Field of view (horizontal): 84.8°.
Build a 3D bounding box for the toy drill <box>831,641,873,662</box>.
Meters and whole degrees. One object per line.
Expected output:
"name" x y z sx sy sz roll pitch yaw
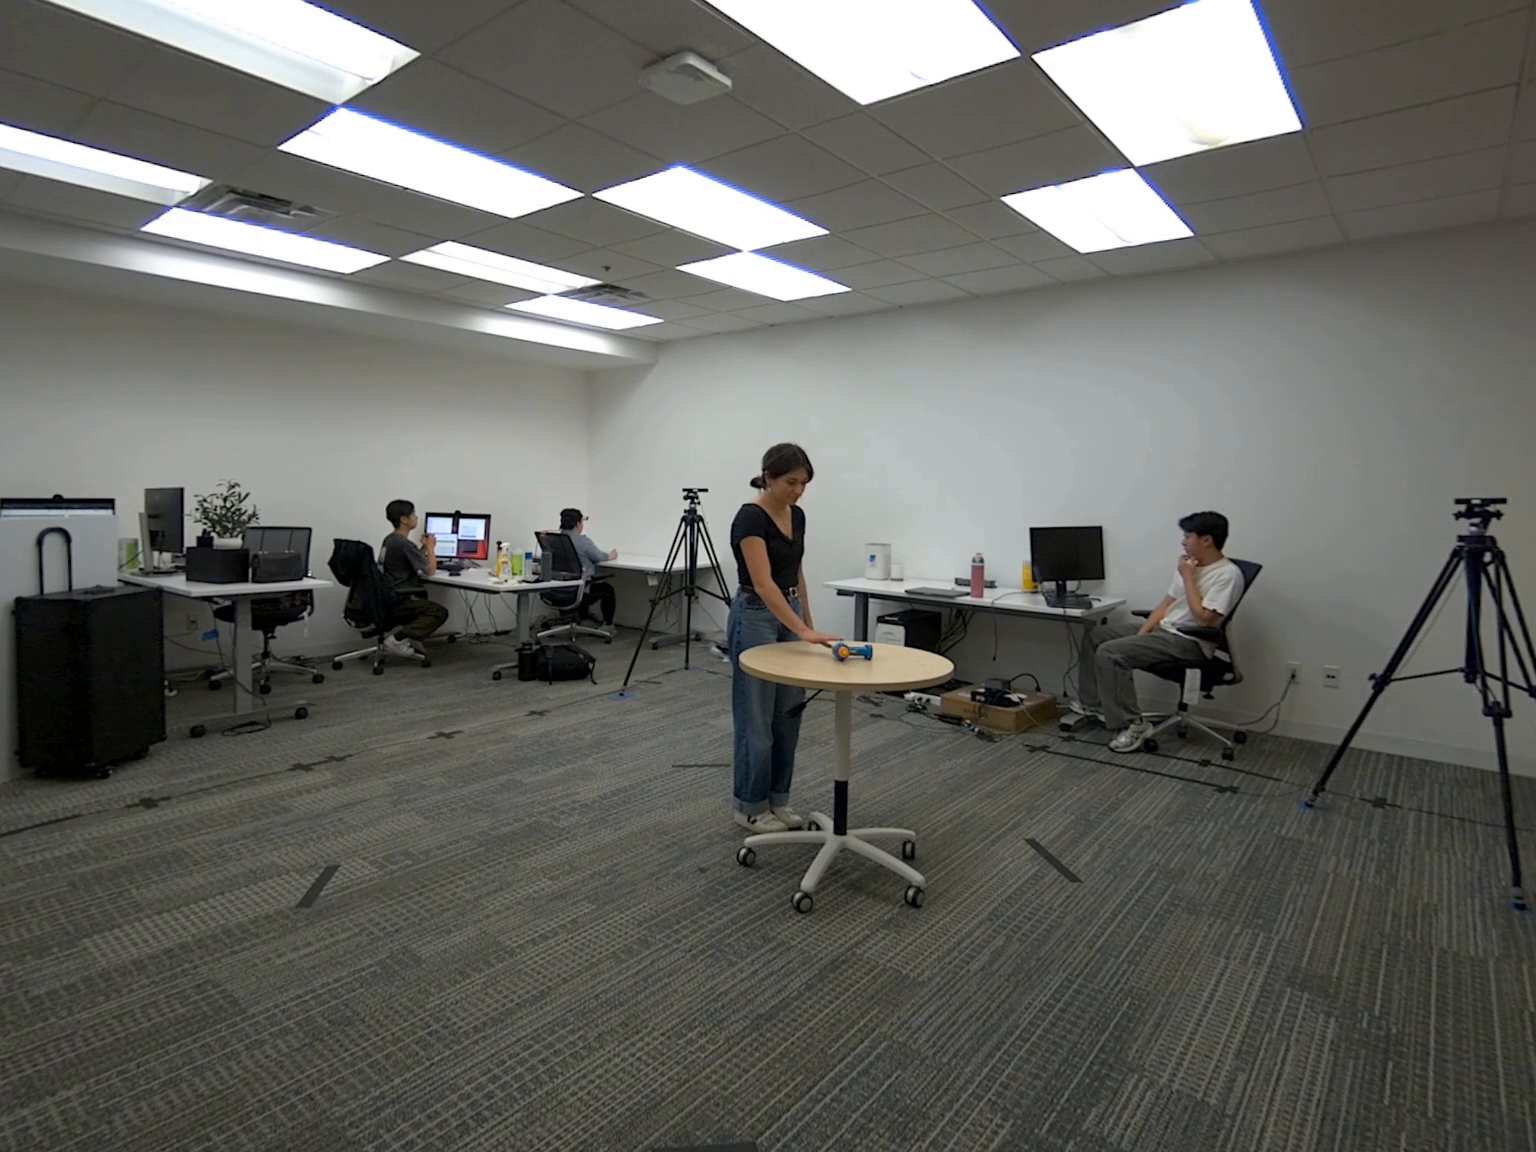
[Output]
"toy drill" 0.307 0.264 3.062 0.146 0.061 0.169 3 -4 0
